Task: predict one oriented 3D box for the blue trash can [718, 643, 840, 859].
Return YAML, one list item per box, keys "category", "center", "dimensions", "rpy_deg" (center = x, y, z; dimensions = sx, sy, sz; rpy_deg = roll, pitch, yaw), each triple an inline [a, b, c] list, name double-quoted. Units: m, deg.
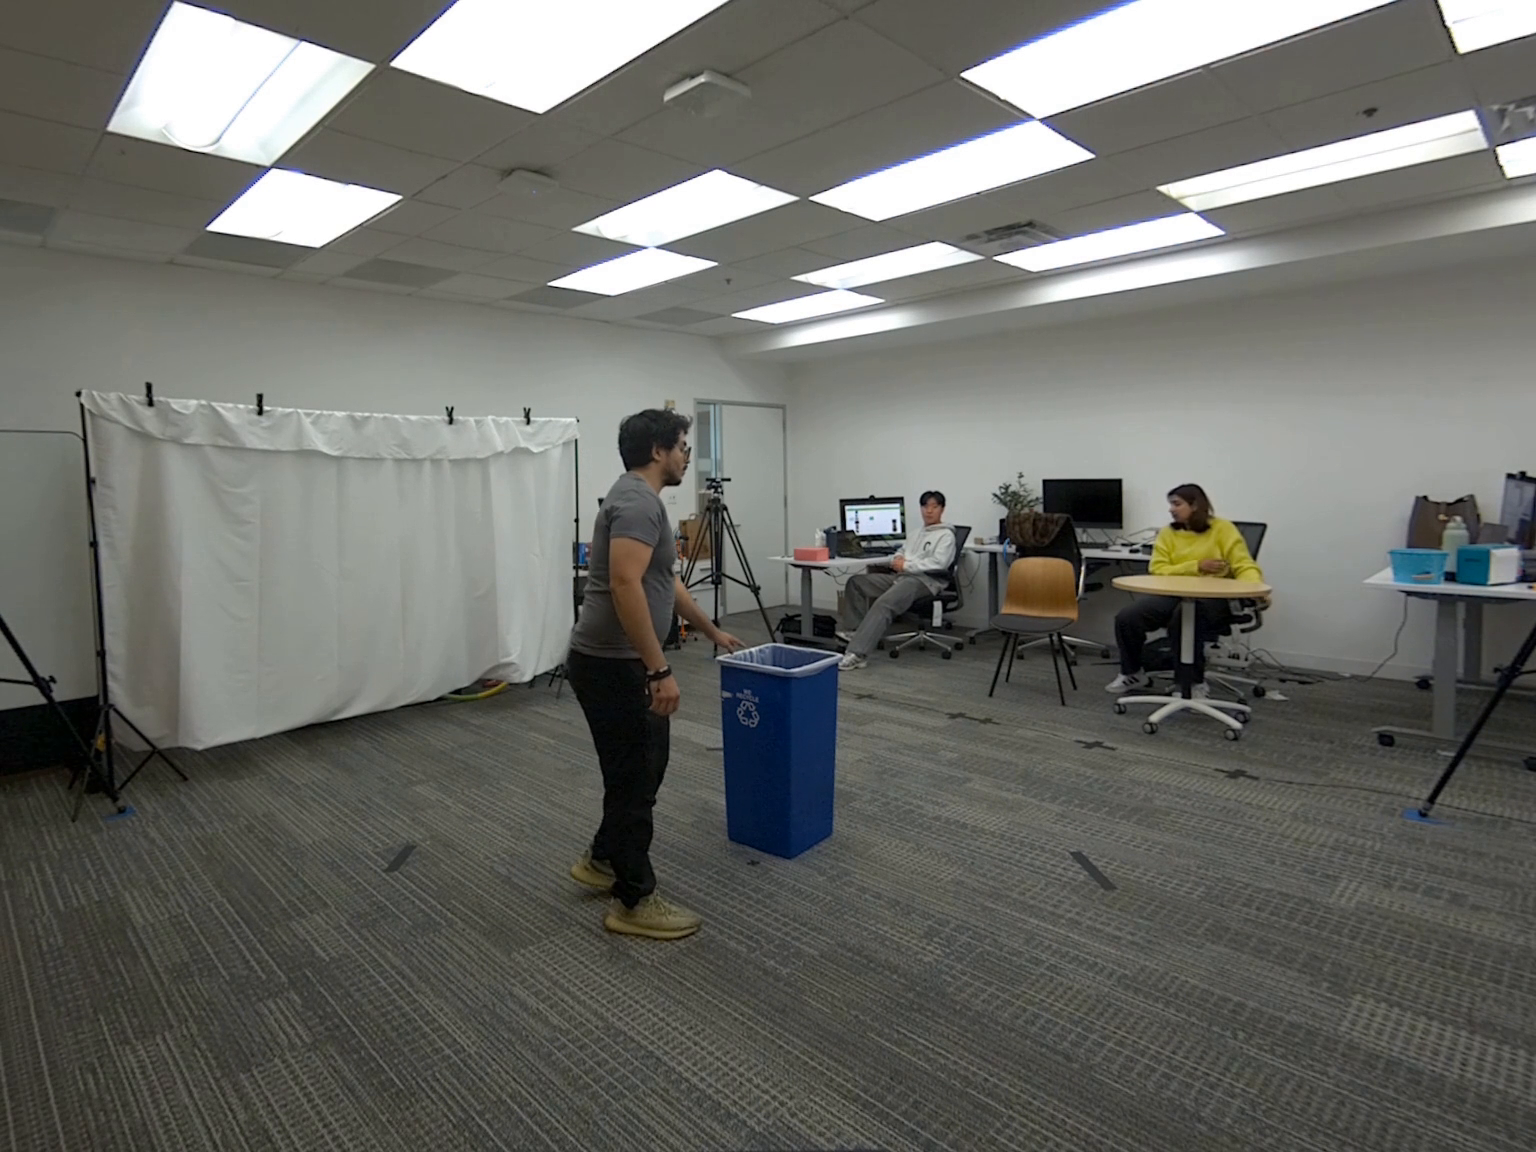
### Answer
- category: "blue trash can"
  center: [0.056, 0.660, 3.304]
  dimensions: [0.385, 0.711, 0.368]
  rpy_deg: [3, 5, 39]
